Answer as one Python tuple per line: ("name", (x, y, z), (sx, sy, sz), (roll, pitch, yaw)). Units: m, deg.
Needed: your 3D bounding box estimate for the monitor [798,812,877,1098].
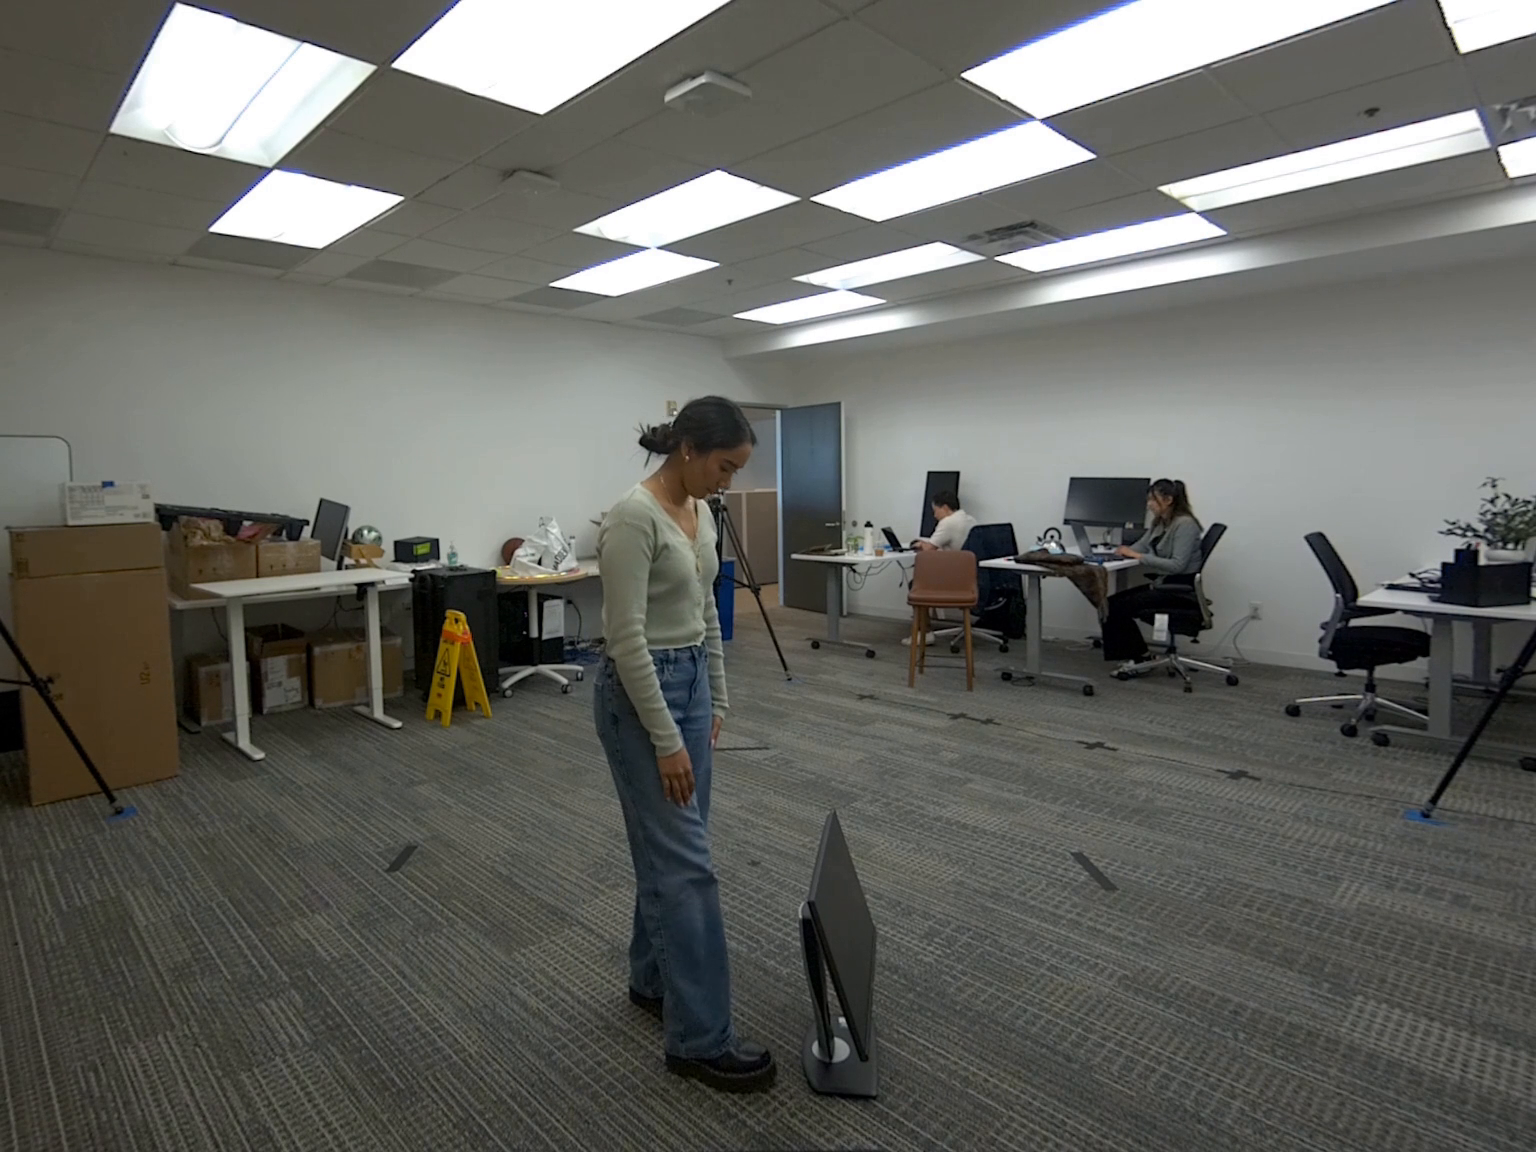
("monitor", (0.167, 0.895, 2.048), (0.176, 0.514, 0.526), (0, 4, 9))
